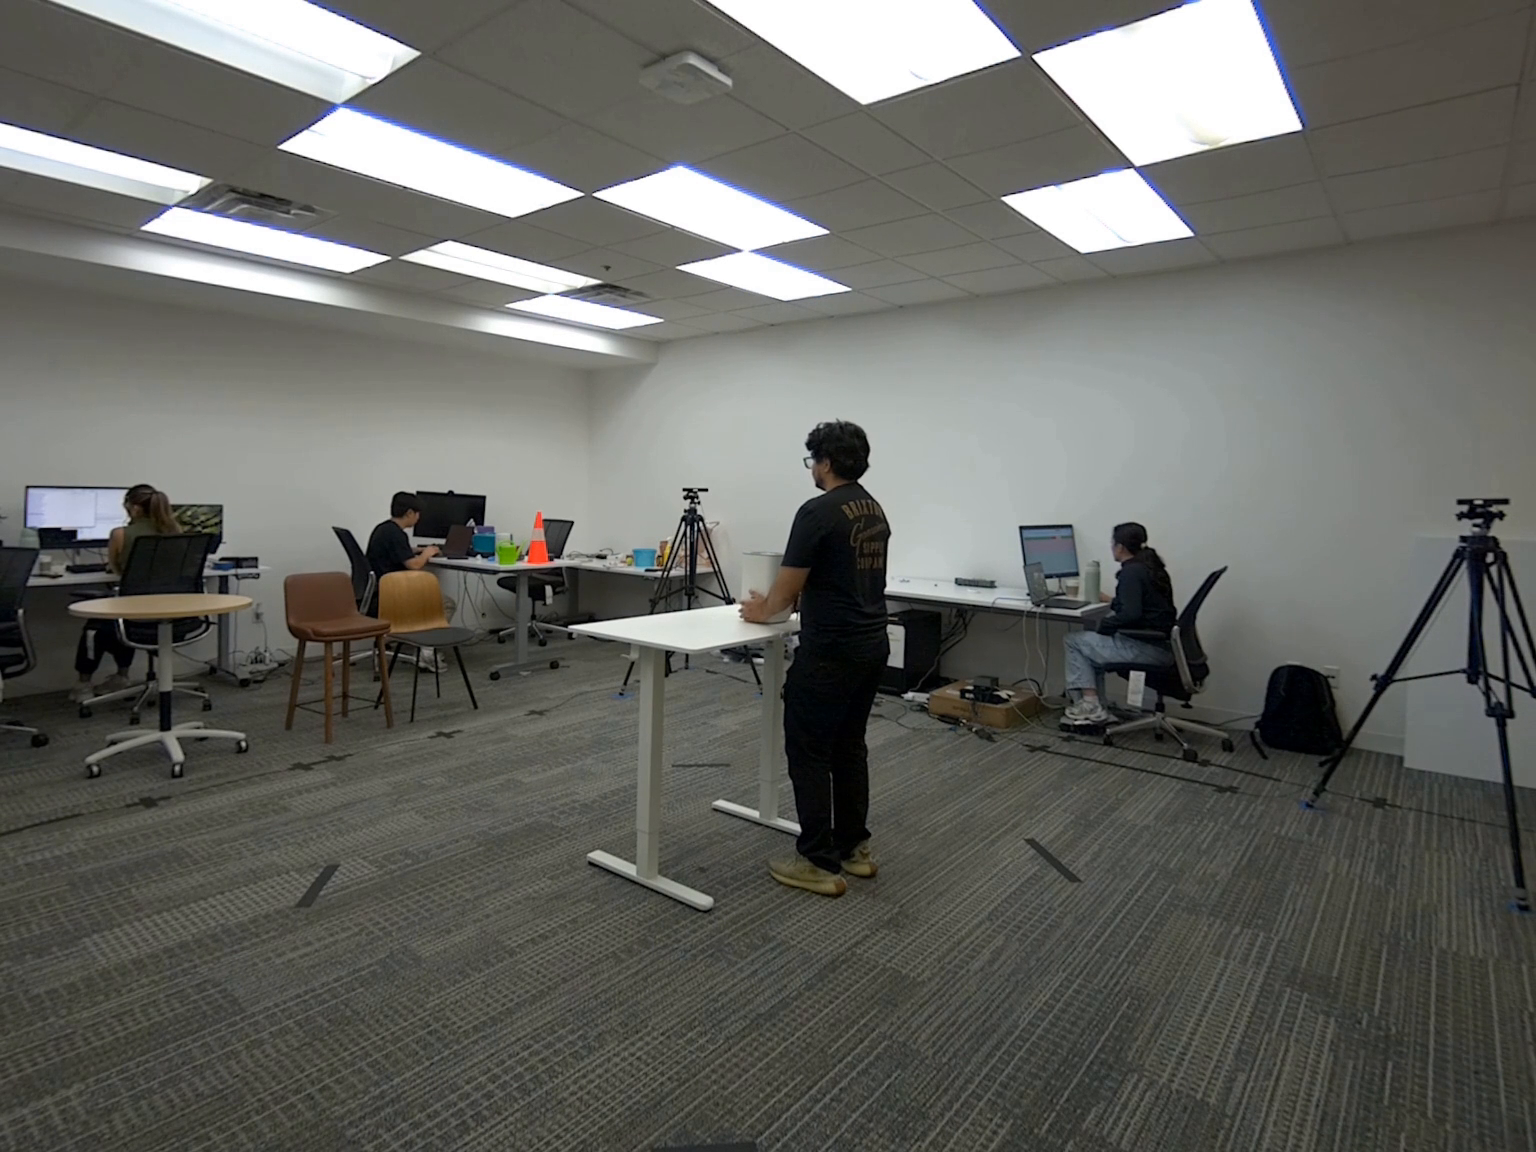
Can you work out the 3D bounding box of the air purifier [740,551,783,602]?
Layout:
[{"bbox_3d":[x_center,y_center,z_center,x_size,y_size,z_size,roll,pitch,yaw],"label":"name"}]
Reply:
[{"bbox_3d":[-0.016,0.037,3.320,0.177,0.265,0.166,5,4,39],"label":"air purifier"}]
